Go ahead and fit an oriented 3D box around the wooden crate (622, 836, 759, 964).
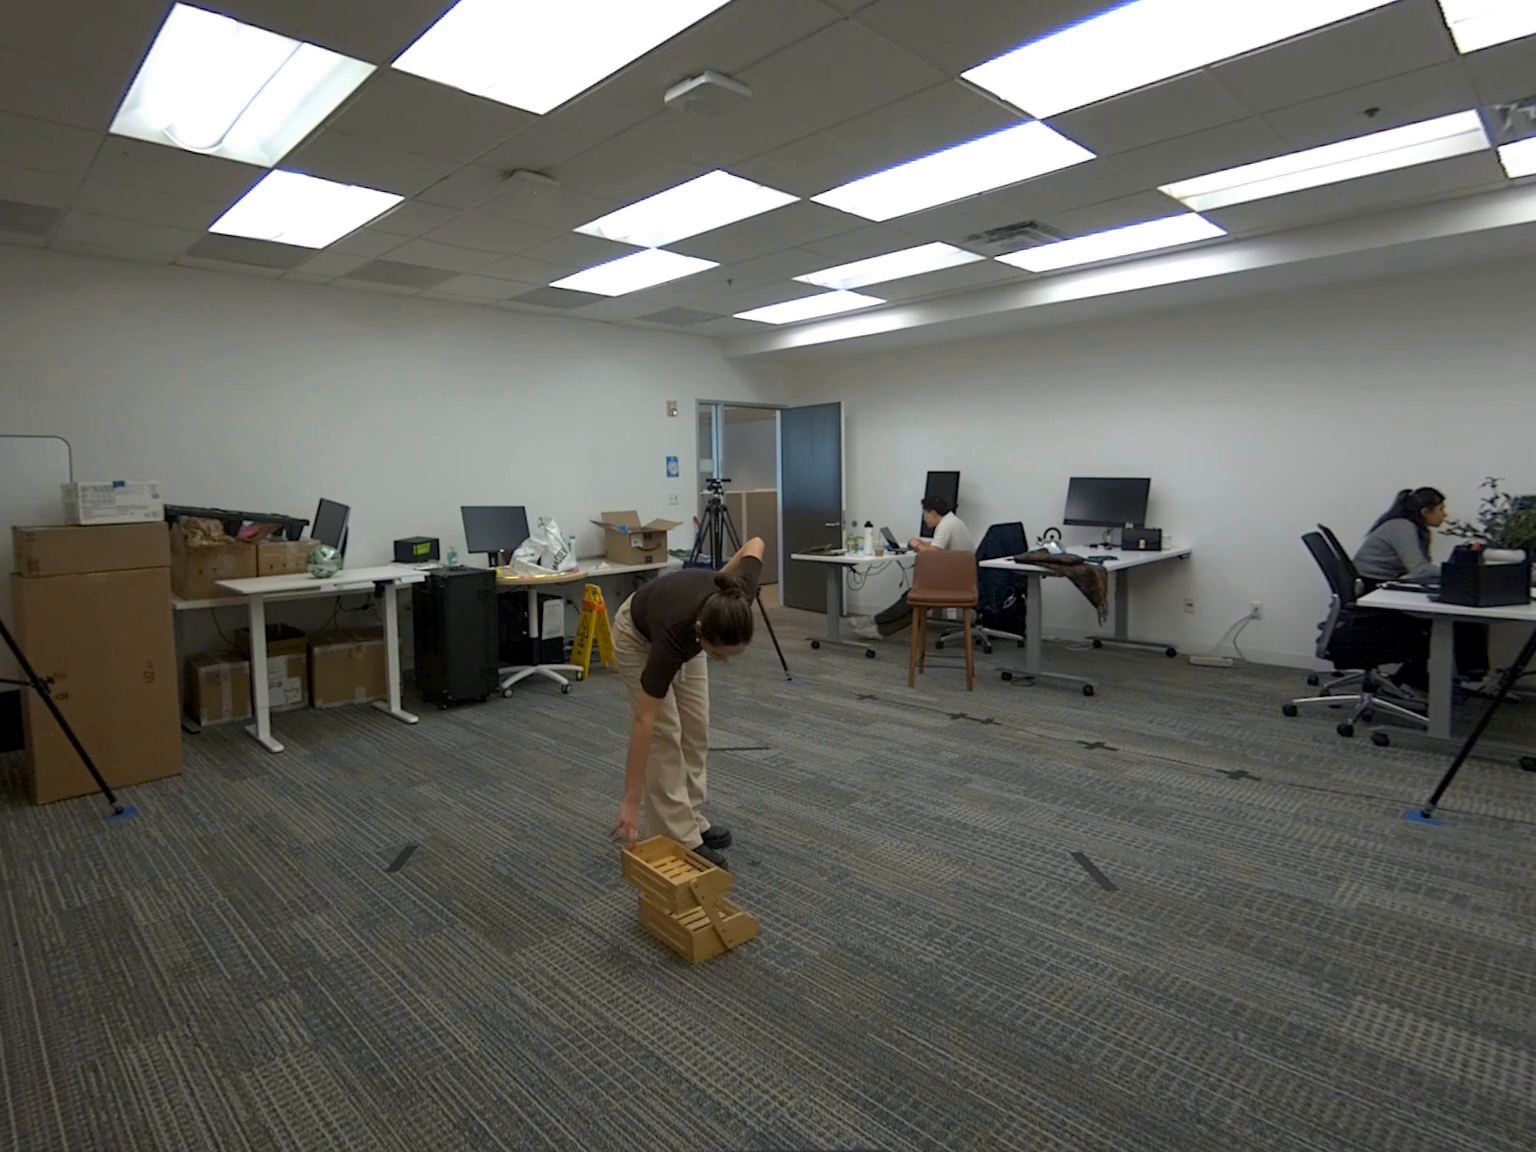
[{"bbox_3d":[-0.235,0.967,2.634,0.294,0.272,0.334,-8,8,-39],"label":"wooden crate"}]
